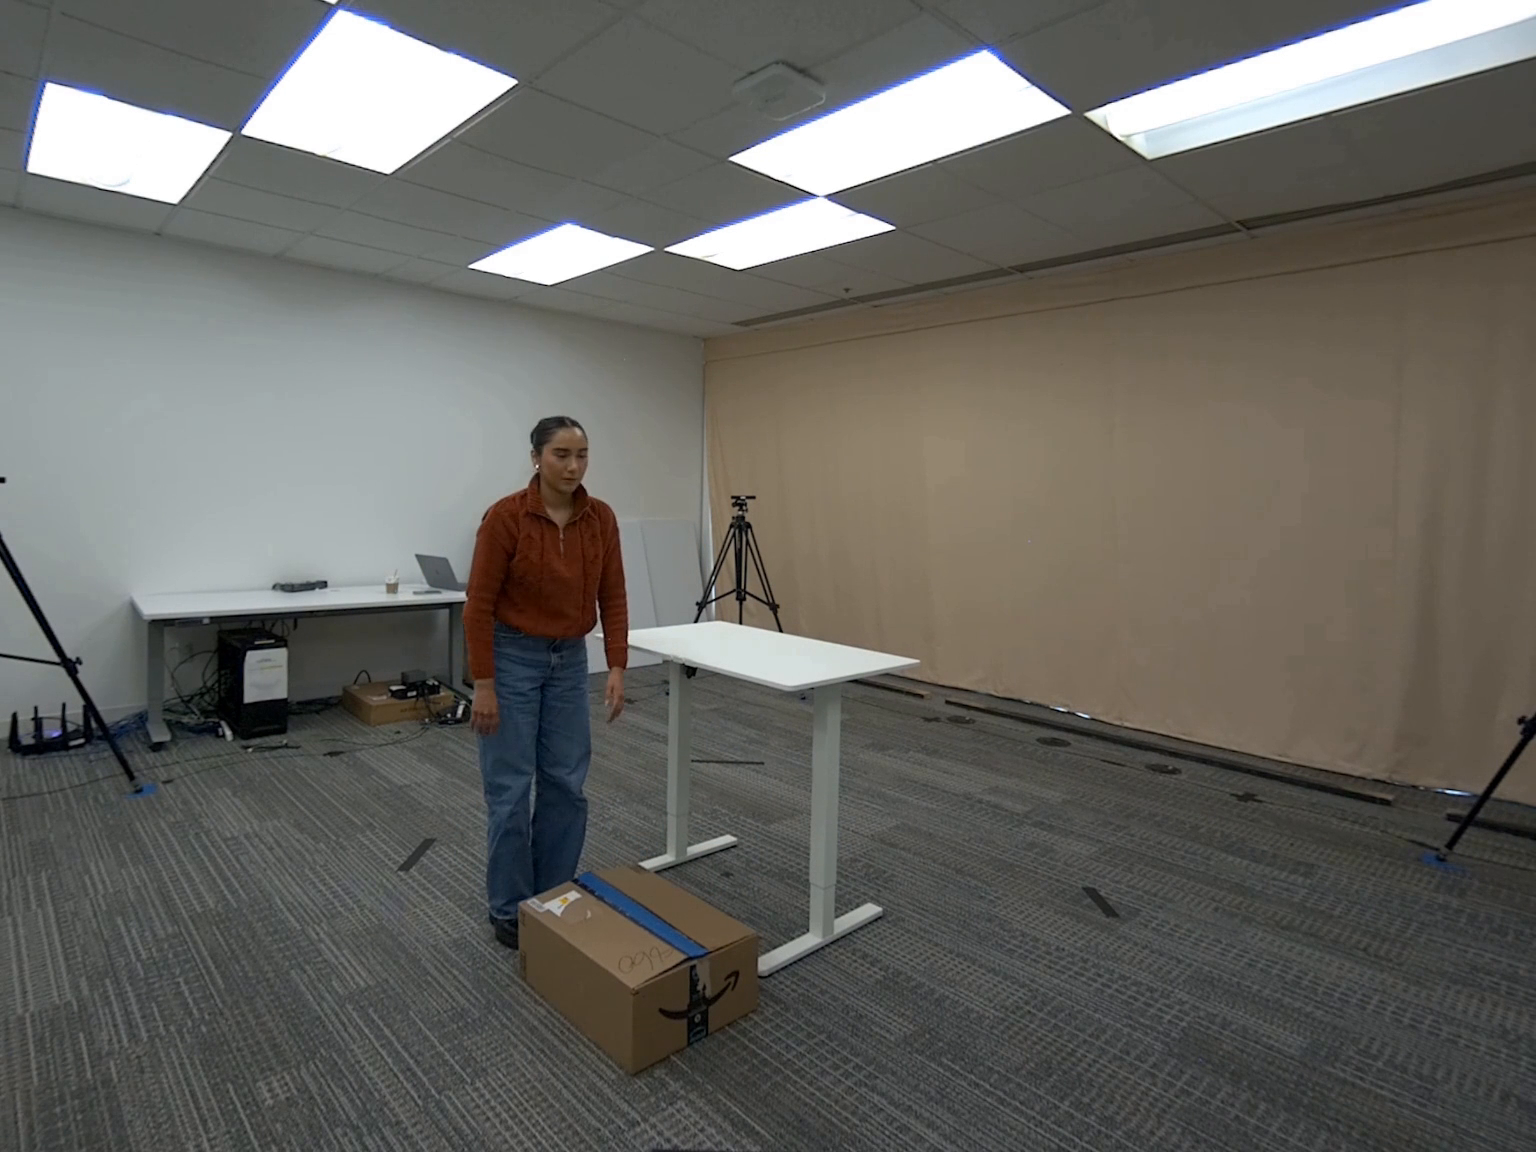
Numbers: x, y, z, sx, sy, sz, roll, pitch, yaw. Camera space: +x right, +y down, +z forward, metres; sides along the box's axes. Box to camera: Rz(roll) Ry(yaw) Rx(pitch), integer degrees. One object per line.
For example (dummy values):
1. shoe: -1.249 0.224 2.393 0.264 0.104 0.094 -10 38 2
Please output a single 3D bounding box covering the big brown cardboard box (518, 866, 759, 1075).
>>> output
1. big brown cardboard box: -0.379 1.059 2.348 0.408 0.232 0.604 -4 8 -43
